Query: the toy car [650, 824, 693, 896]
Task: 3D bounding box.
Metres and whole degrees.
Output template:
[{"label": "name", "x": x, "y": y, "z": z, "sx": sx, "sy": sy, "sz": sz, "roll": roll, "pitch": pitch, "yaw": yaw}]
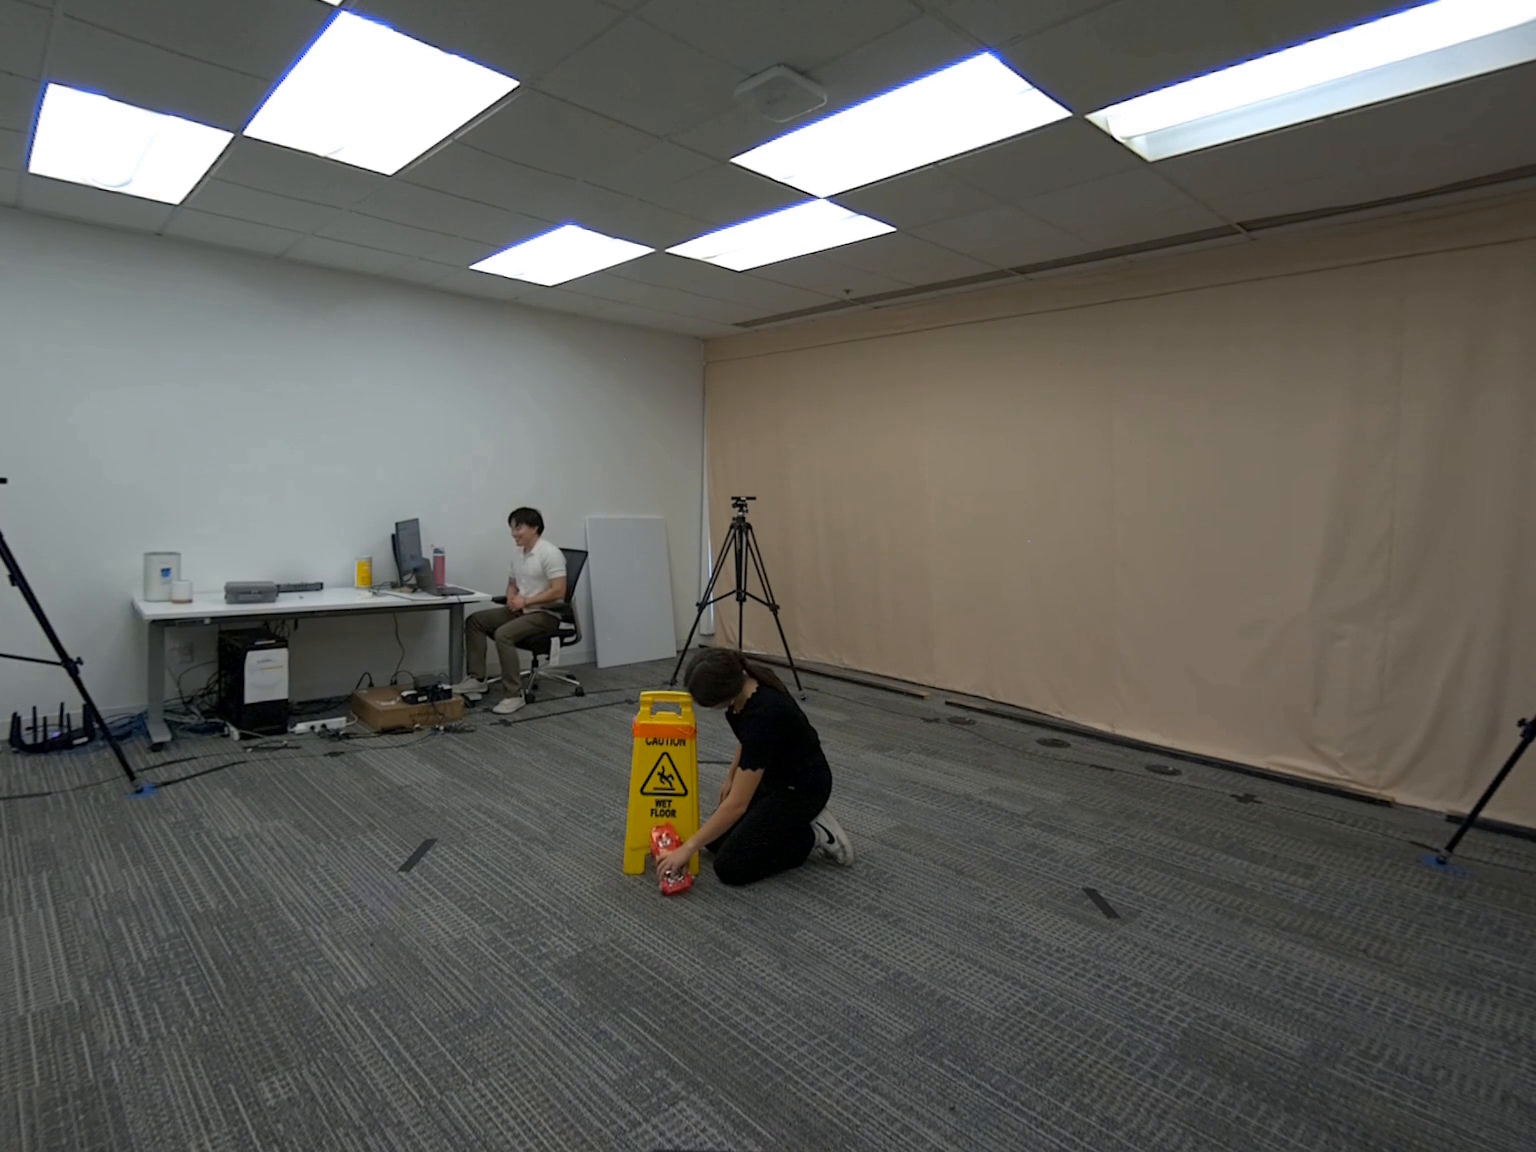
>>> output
[{"label": "toy car", "x": -0.374, "y": 1.016, "z": 3.019, "sx": 0.129, "sy": 0.261, "sz": 0.081, "roll": -14, "pitch": -33, "yaw": -9}]
